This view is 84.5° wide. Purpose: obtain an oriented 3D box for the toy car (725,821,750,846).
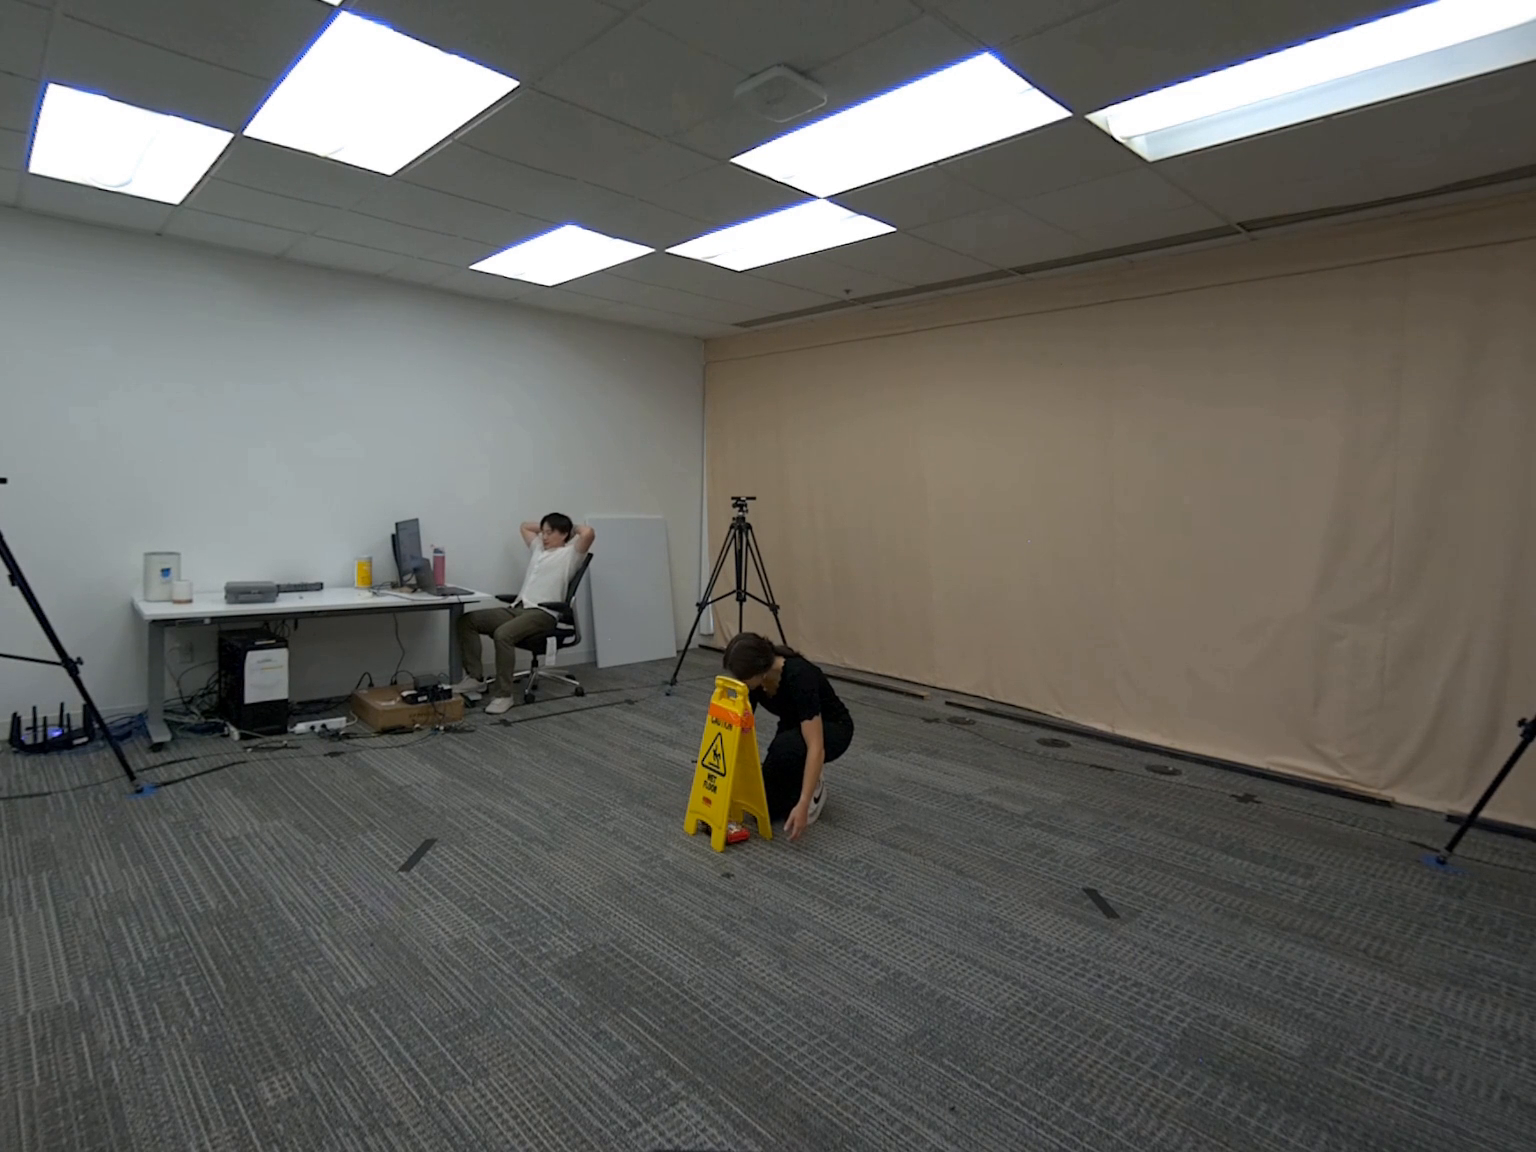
[{"bbox_3d":[-0.197,1.036,3.496,0.127,0.082,0.262,-2,16,-36],"label":"toy car"}]
